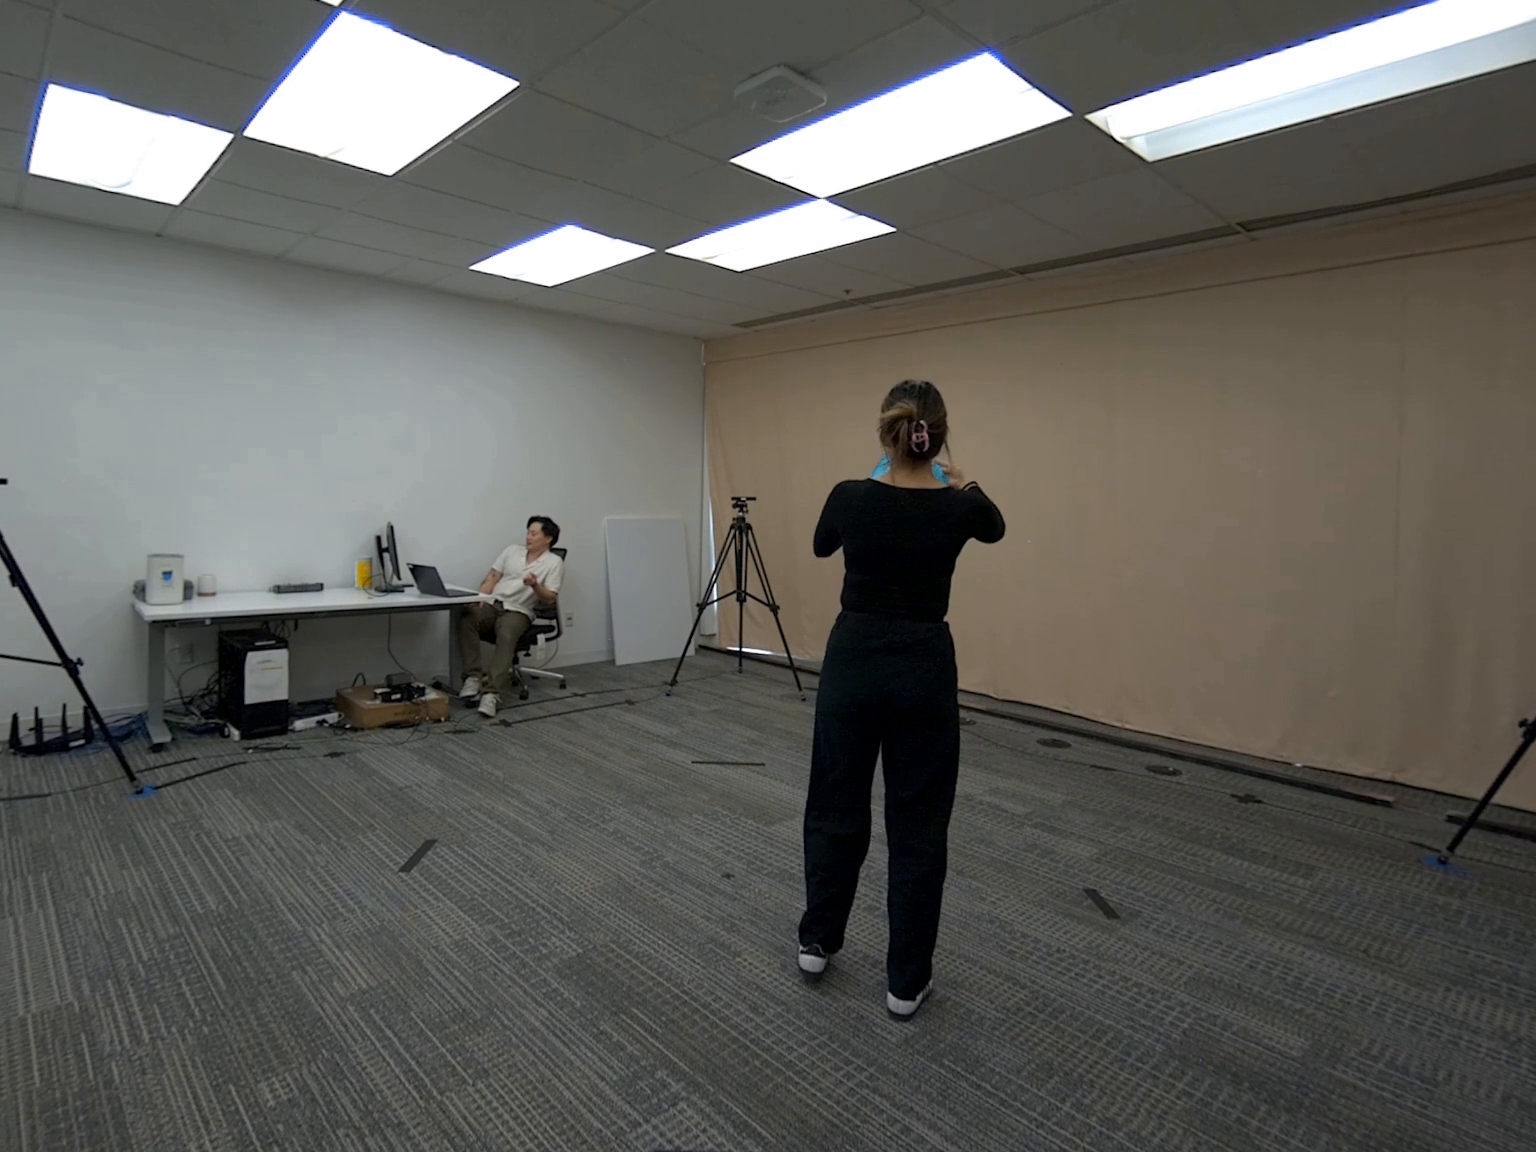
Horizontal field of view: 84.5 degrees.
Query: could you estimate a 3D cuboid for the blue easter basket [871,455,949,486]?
[{"bbox_3d":[0.465,-0.321,2.822,0.152,0.244,0.249,33,-11,-26],"label":"blue easter basket"}]
